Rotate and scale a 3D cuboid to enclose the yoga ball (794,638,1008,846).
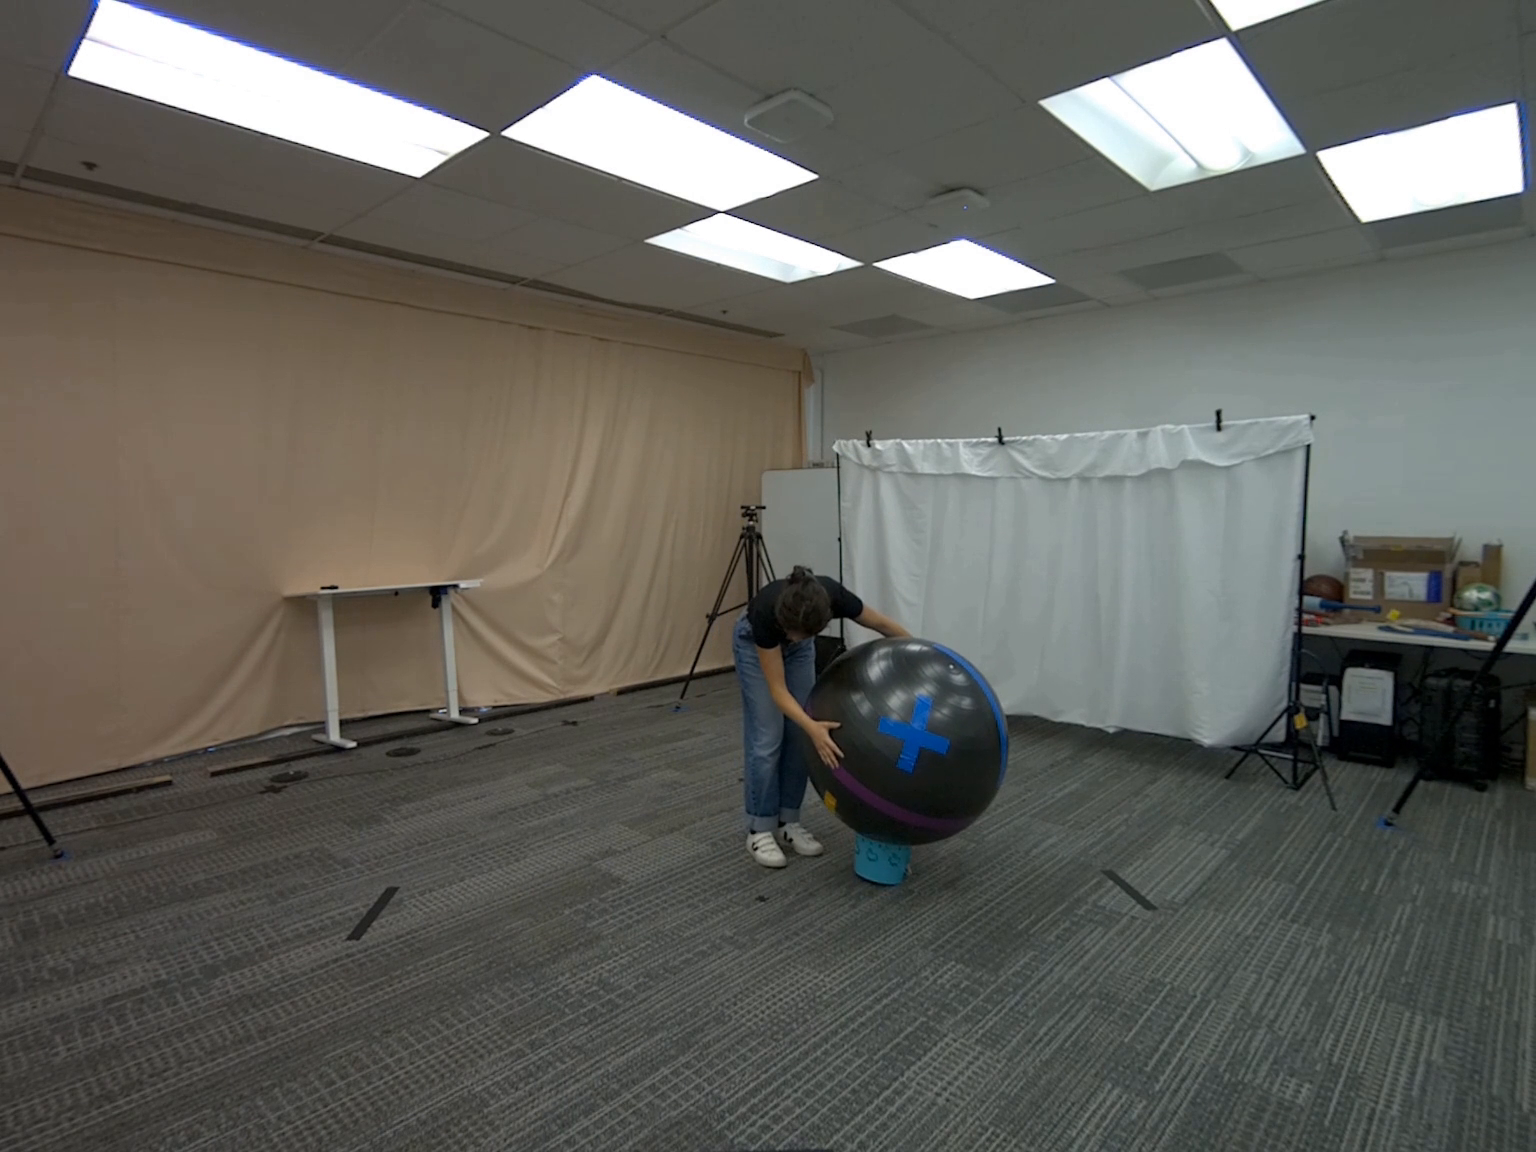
[{"bbox_3d":[0.515,0.615,3.149,0.757,0.756,0.760,0,4,-2],"label":"yoga ball"}]
